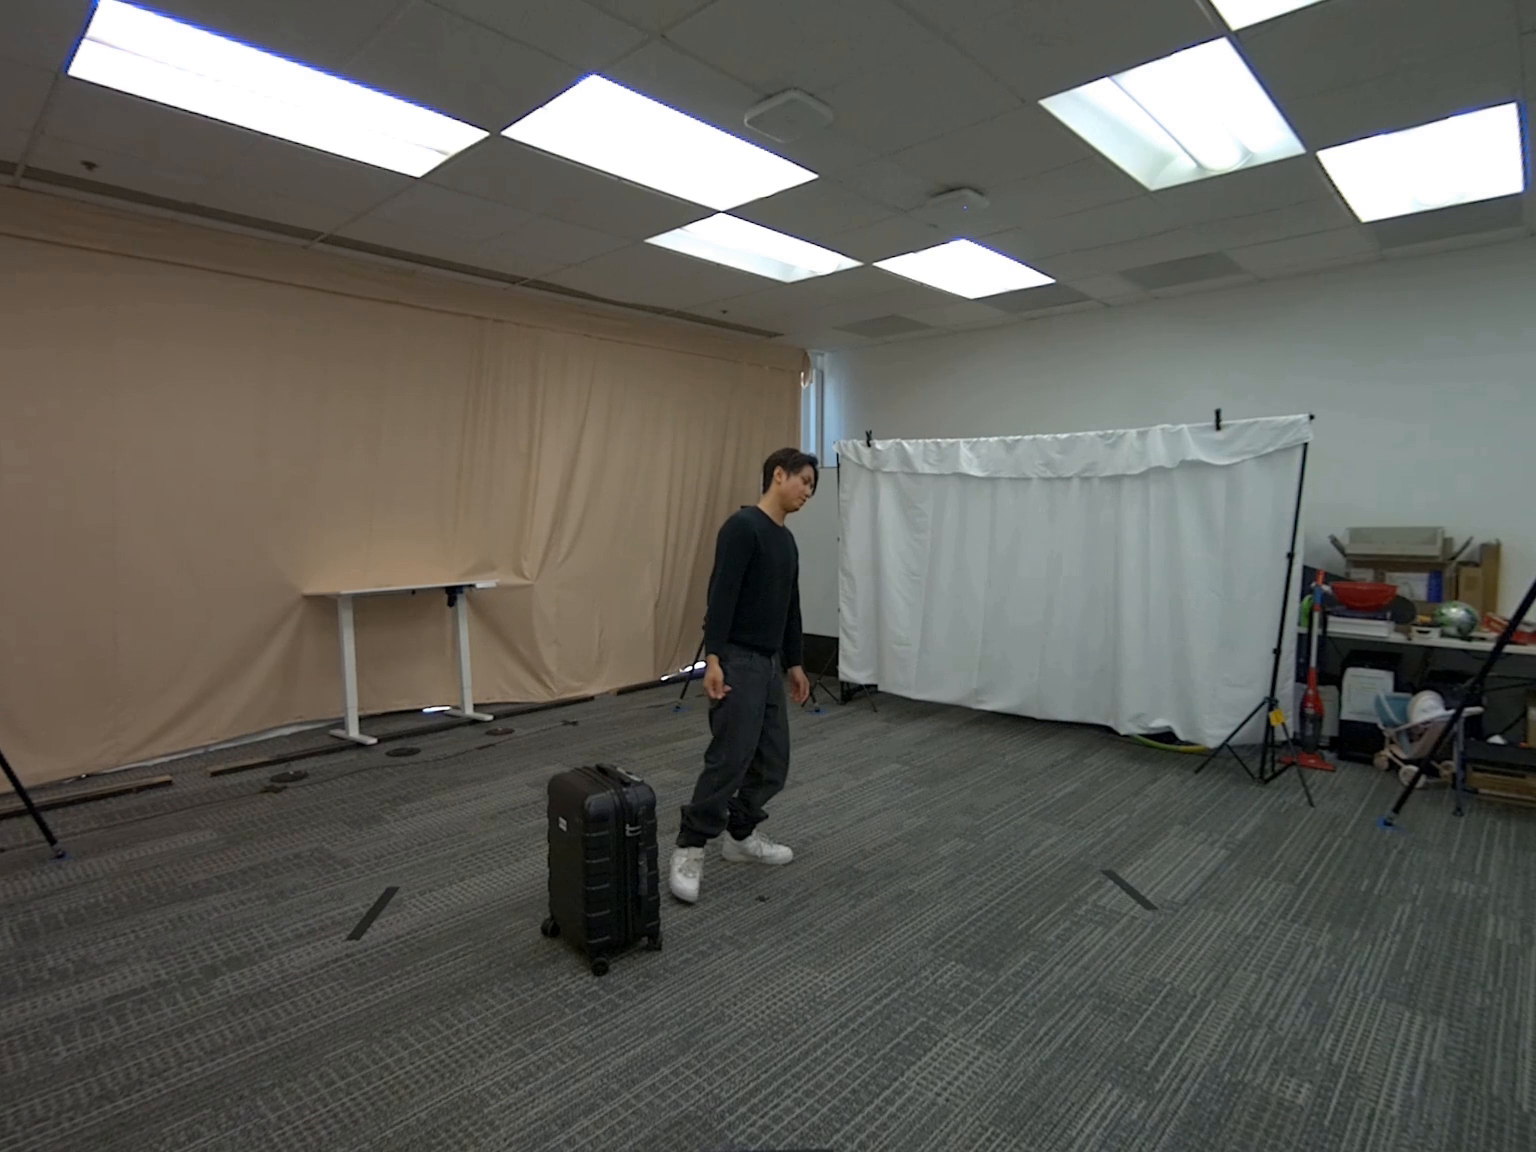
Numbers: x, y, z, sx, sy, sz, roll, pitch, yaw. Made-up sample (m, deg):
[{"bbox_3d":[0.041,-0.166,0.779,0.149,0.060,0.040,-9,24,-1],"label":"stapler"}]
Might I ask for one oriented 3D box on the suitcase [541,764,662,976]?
[{"bbox_3d":[-0.527,0.894,2.670,0.241,0.548,0.387,-2,4,-37],"label":"suitcase"}]
